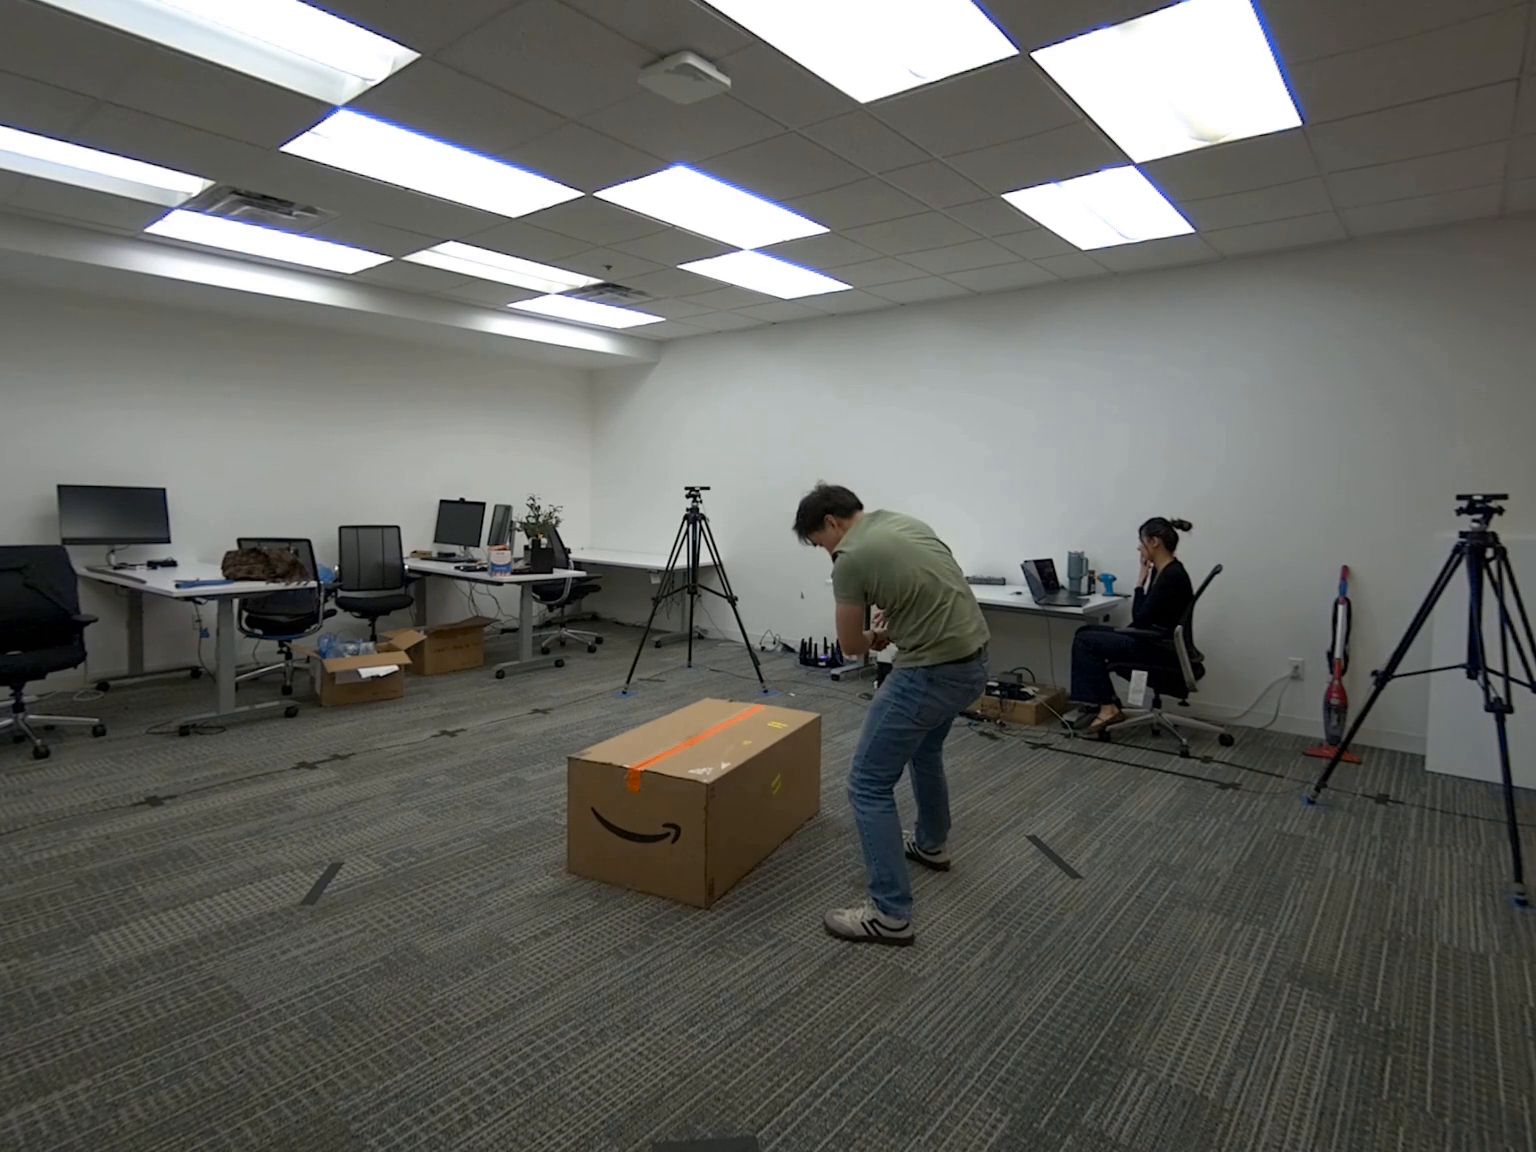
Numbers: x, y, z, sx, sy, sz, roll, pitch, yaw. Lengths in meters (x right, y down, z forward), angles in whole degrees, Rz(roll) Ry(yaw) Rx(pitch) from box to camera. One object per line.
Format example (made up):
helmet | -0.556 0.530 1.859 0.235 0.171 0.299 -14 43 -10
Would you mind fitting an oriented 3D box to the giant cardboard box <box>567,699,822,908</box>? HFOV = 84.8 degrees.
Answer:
giant cardboard box | -0.257 0.825 3.347 0.593 0.424 1.002 4 6 26
